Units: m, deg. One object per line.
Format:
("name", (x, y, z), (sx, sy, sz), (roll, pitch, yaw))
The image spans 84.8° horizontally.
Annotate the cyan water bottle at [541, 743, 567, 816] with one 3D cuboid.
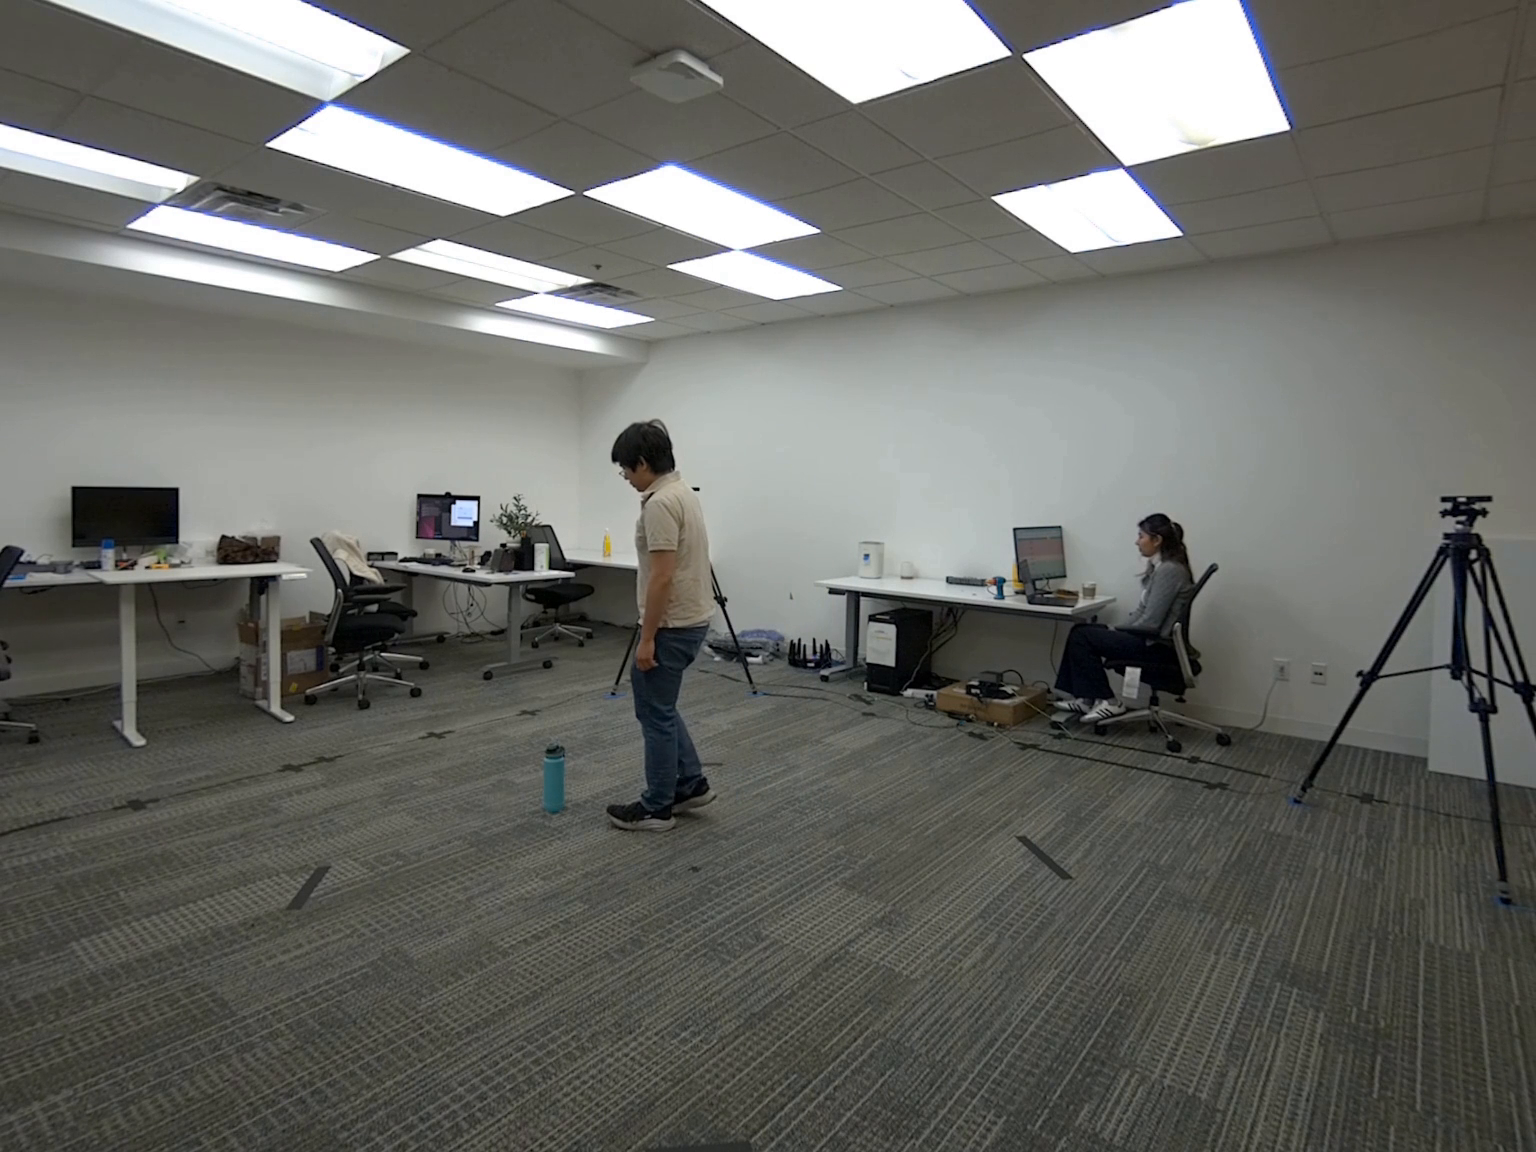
("cyan water bottle", (-0.938, 0.860, 3.682), (0.092, 0.282, 0.093), (1, 3, -2))
